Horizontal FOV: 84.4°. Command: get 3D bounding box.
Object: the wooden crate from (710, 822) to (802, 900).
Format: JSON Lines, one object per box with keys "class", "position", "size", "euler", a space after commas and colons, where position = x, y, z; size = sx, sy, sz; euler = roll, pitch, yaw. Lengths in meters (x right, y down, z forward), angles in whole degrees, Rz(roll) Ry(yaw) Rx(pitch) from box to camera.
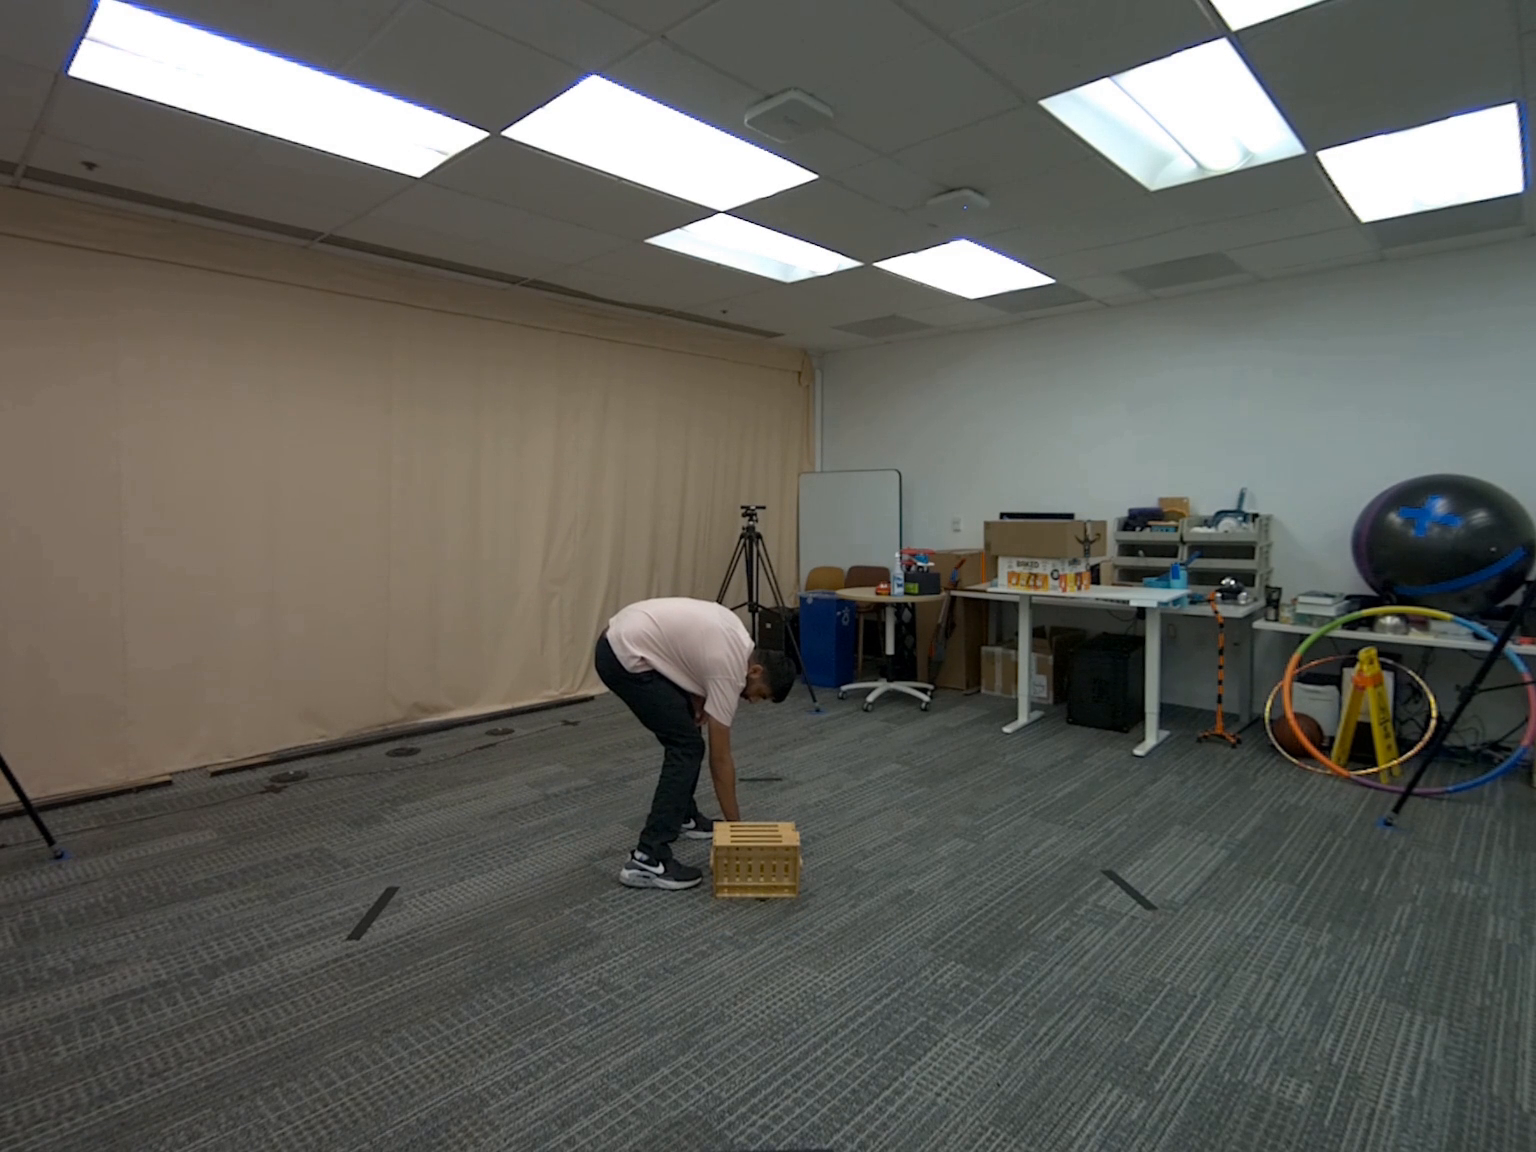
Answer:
{"class": "wooden crate", "position": [-0.045, 1.002, 3.074], "size": [0.324, 0.298, 0.277], "euler": [0, 21, -1]}
